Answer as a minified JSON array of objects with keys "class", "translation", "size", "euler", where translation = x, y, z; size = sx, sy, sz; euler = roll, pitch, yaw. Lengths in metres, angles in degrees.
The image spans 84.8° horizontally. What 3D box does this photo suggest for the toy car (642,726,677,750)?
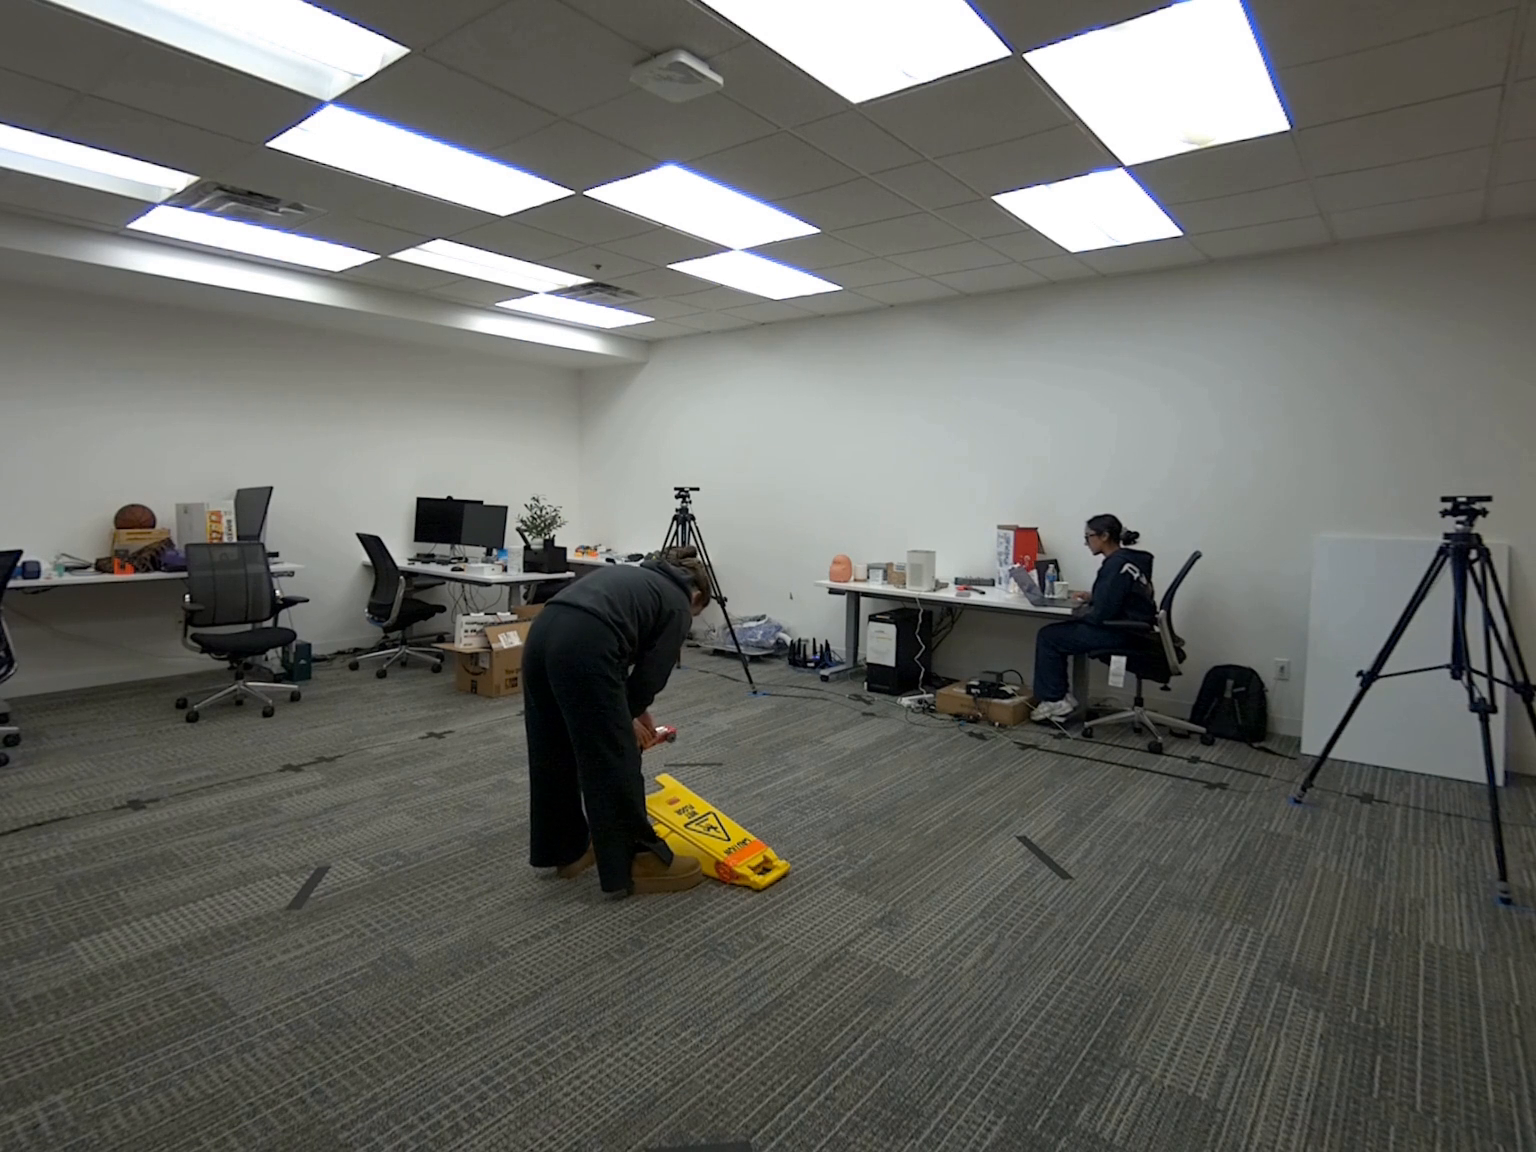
[{"class":"toy car","translation":[-0.497,0.646,3.333],"size":[0.249,0.083,0.133],"euler":[-7,4,-24]}]
